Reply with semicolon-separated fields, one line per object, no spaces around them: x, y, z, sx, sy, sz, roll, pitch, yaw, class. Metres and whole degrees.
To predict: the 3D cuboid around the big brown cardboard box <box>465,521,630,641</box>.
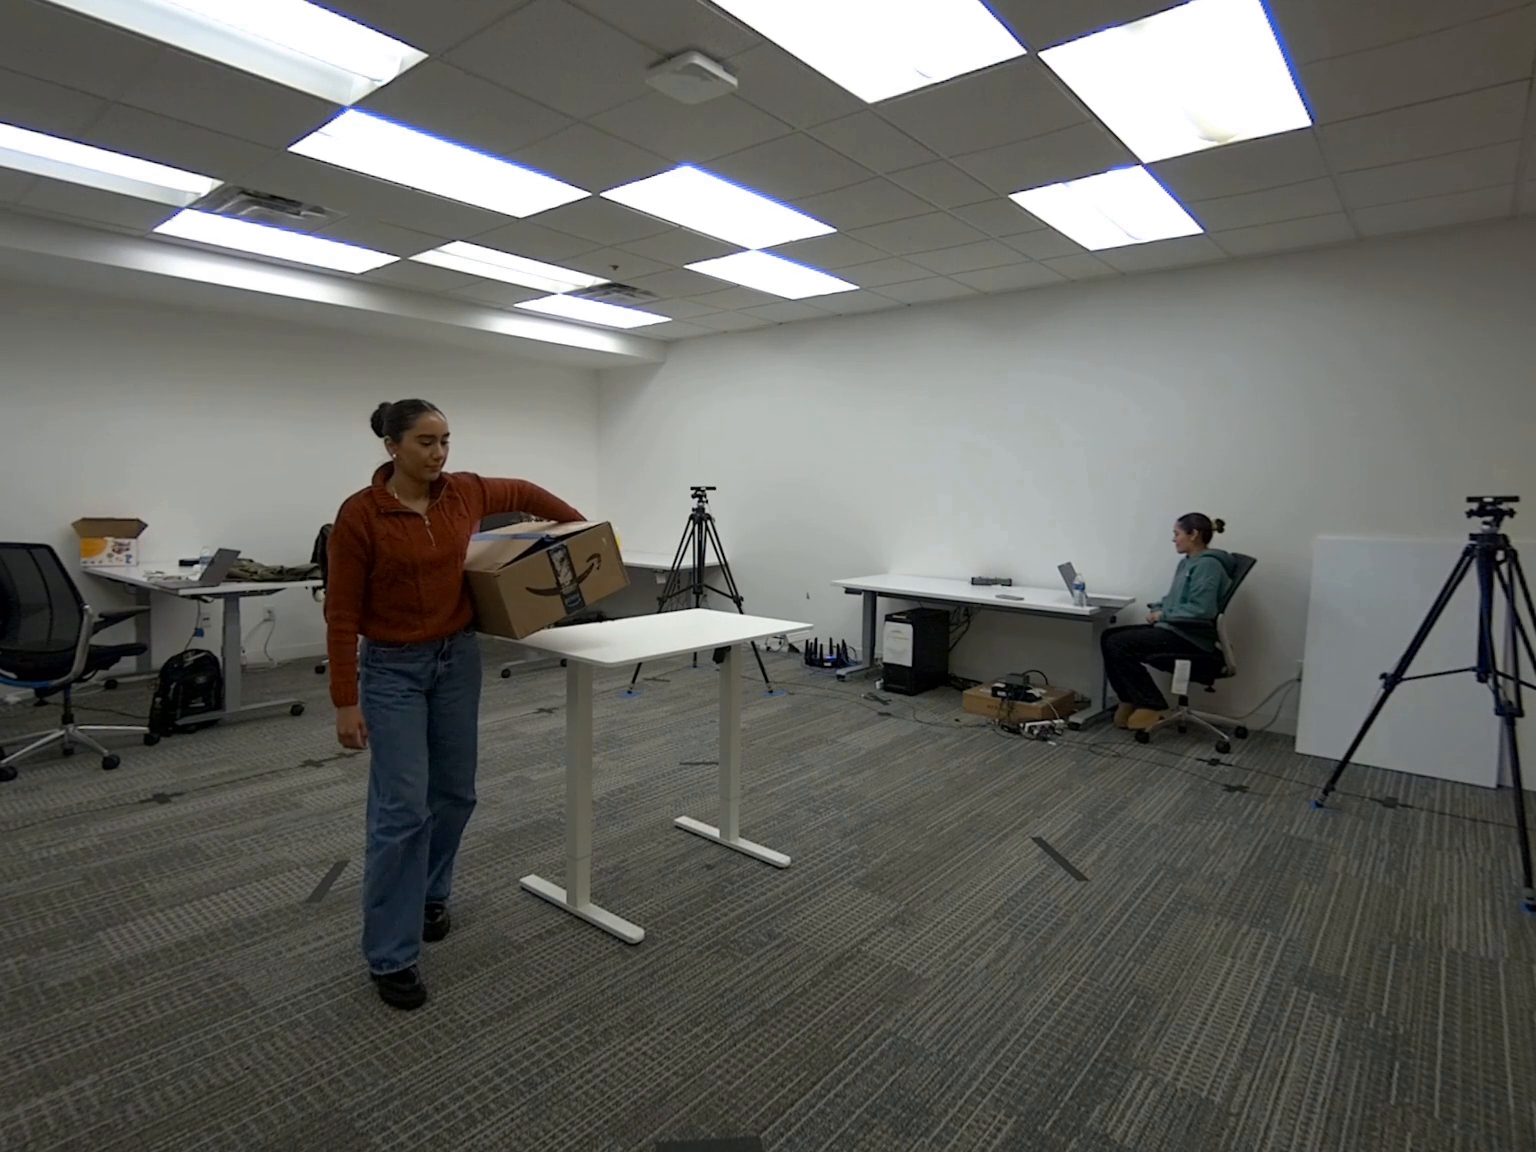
-0.802;-0.010;2.729;0.411;0.229;0.608;-29;20;-37;big brown cardboard box
